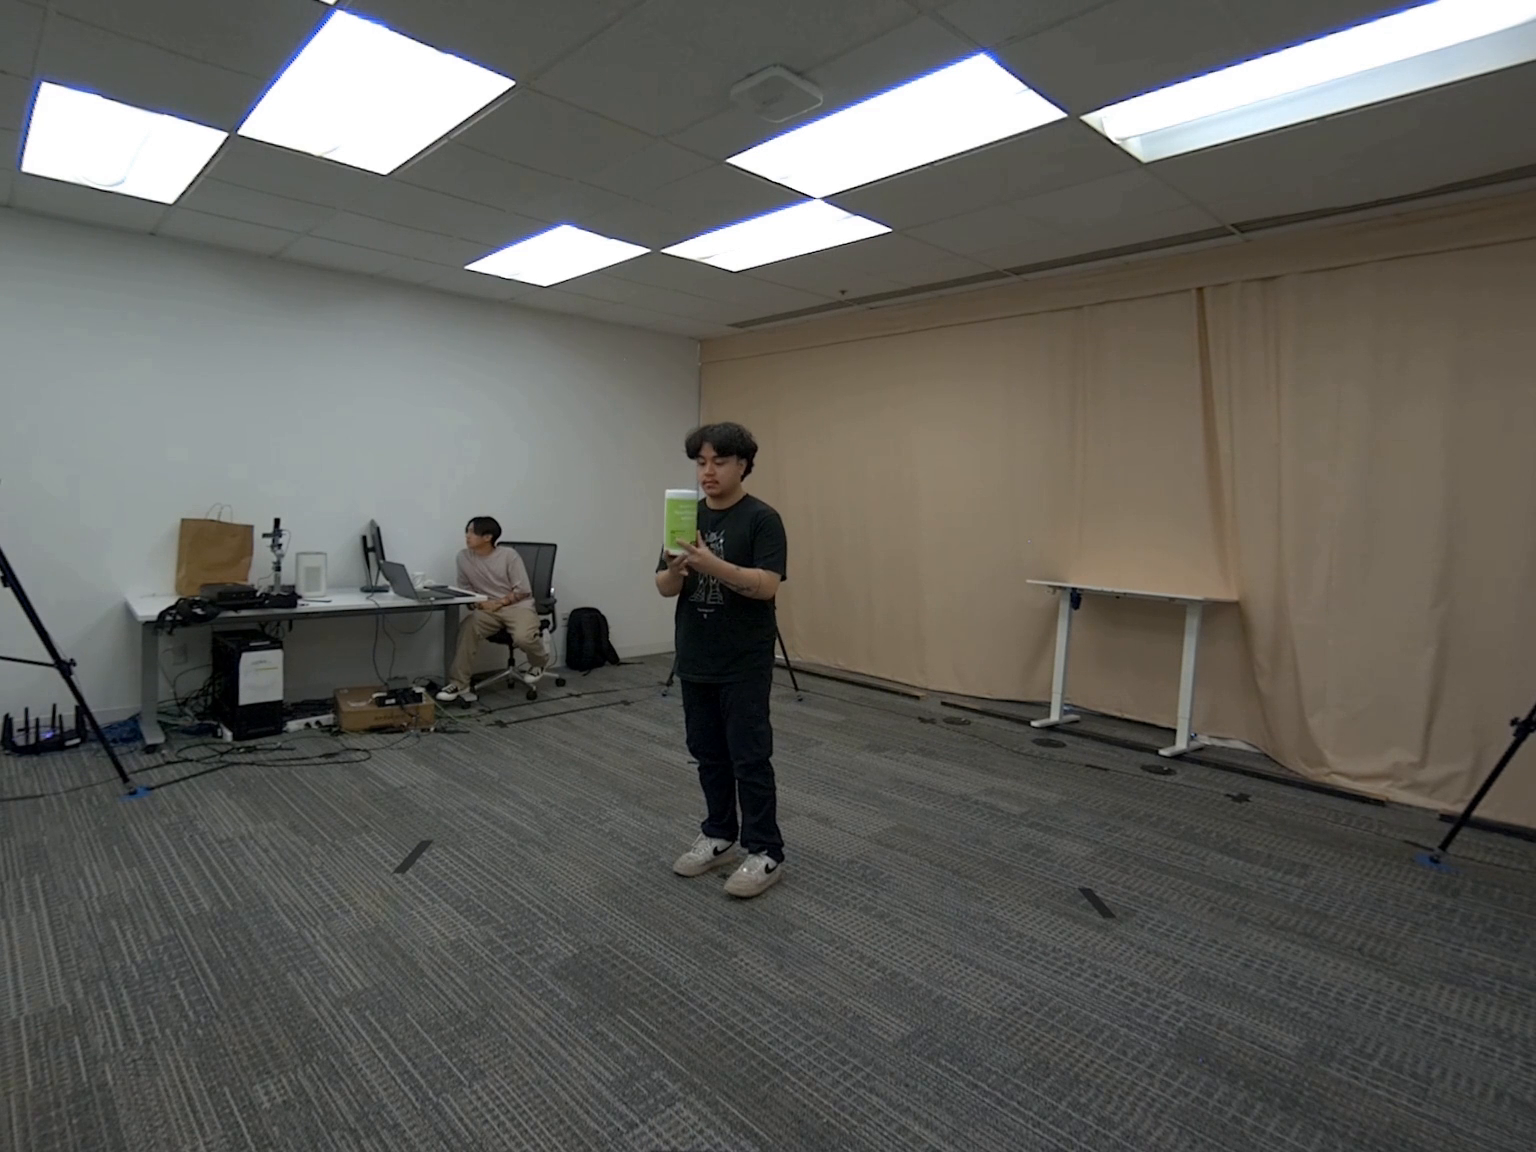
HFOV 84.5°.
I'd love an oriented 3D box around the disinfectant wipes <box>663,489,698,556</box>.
[{"bbox_3d":[-0.312,-0.180,2.805,0.118,0.216,0.118,2,8,-2],"label":"disinfectant wipes"}]
